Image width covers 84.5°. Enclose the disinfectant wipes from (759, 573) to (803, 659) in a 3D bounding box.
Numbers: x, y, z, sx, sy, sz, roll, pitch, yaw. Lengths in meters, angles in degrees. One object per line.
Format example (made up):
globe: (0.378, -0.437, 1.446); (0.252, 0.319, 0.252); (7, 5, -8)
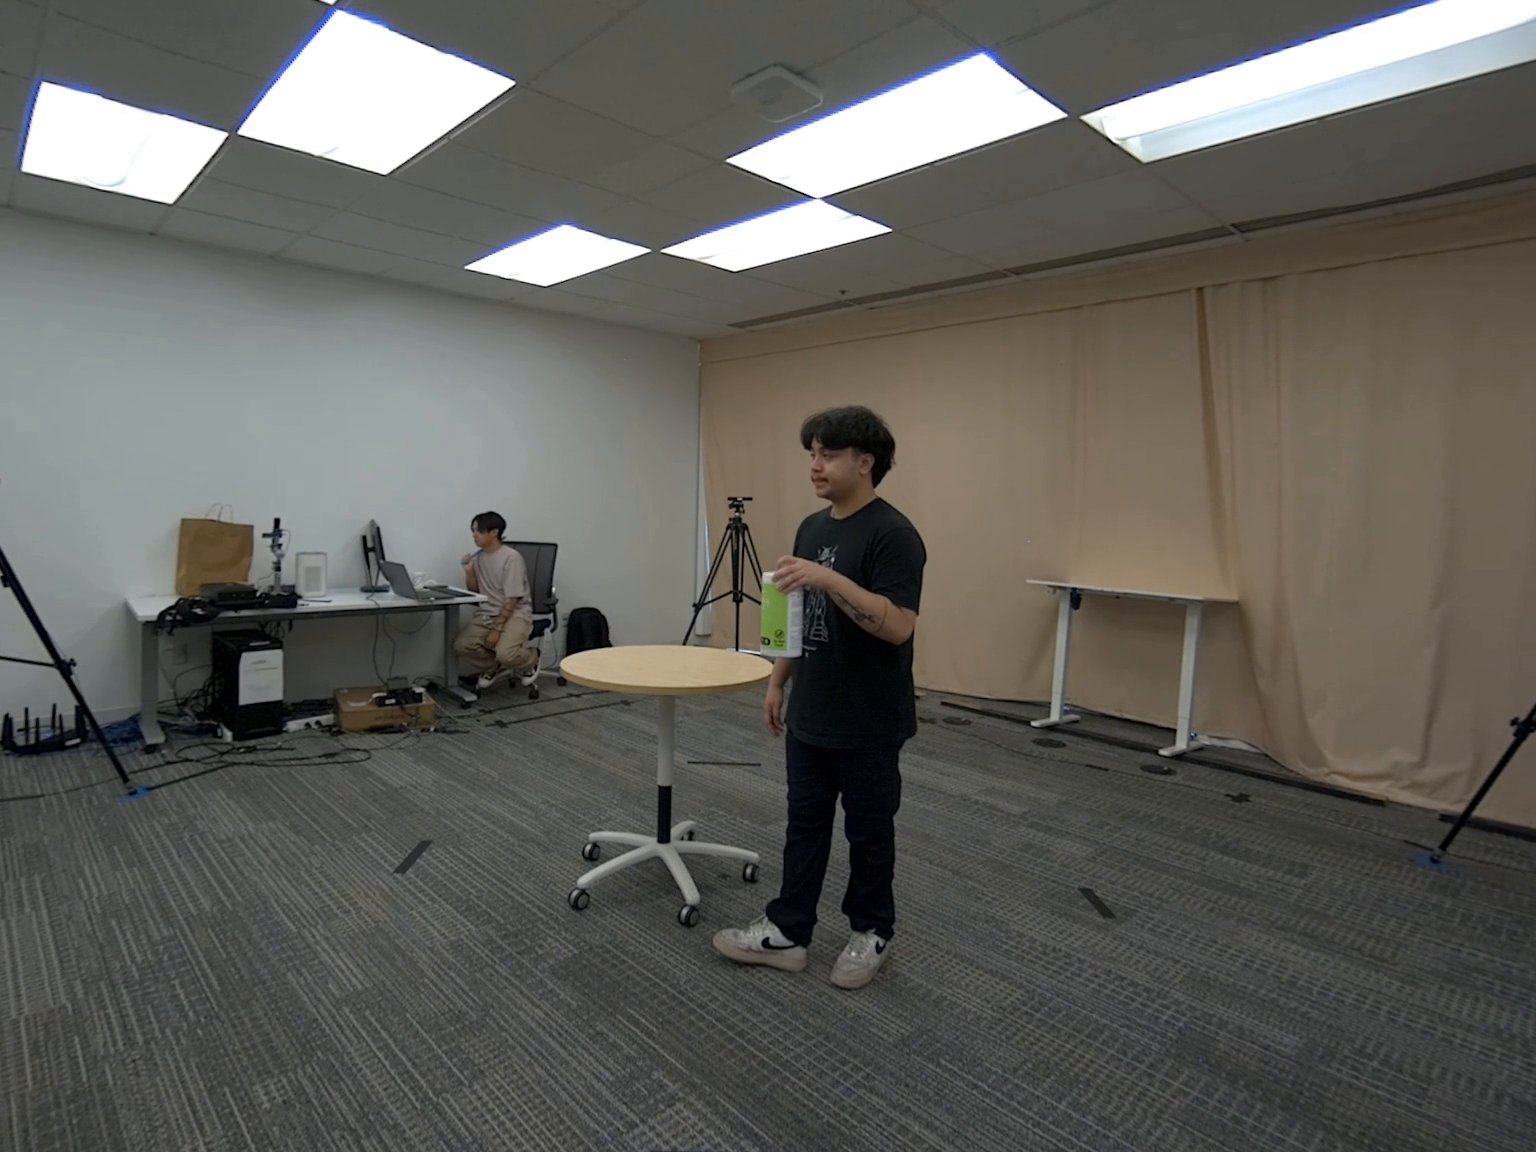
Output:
disinfectant wipes: (0.035, 0.102, 2.189); (0.118, 0.217, 0.118); (1, 1, -1)
